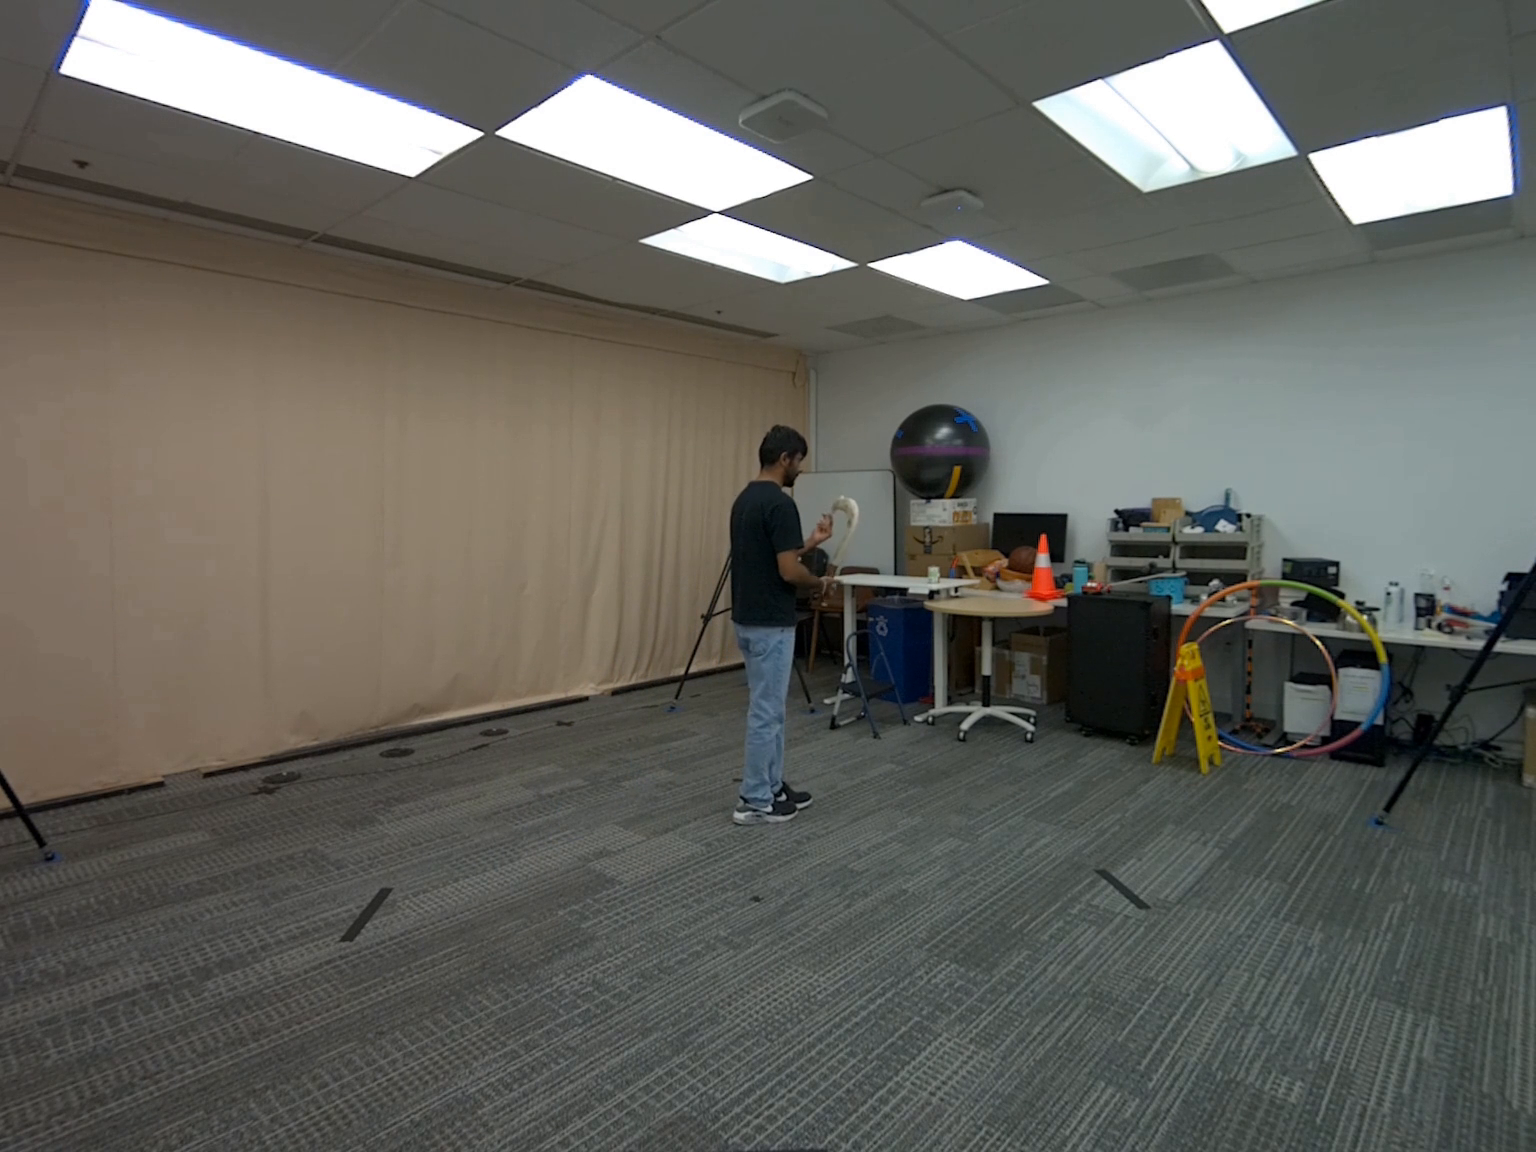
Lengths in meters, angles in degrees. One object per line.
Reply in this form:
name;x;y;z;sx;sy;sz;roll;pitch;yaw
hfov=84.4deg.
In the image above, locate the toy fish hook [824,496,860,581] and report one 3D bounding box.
toy fish hook;0.295;-0.107;3.870;0.047;0.505;0.232;13;8;-29
